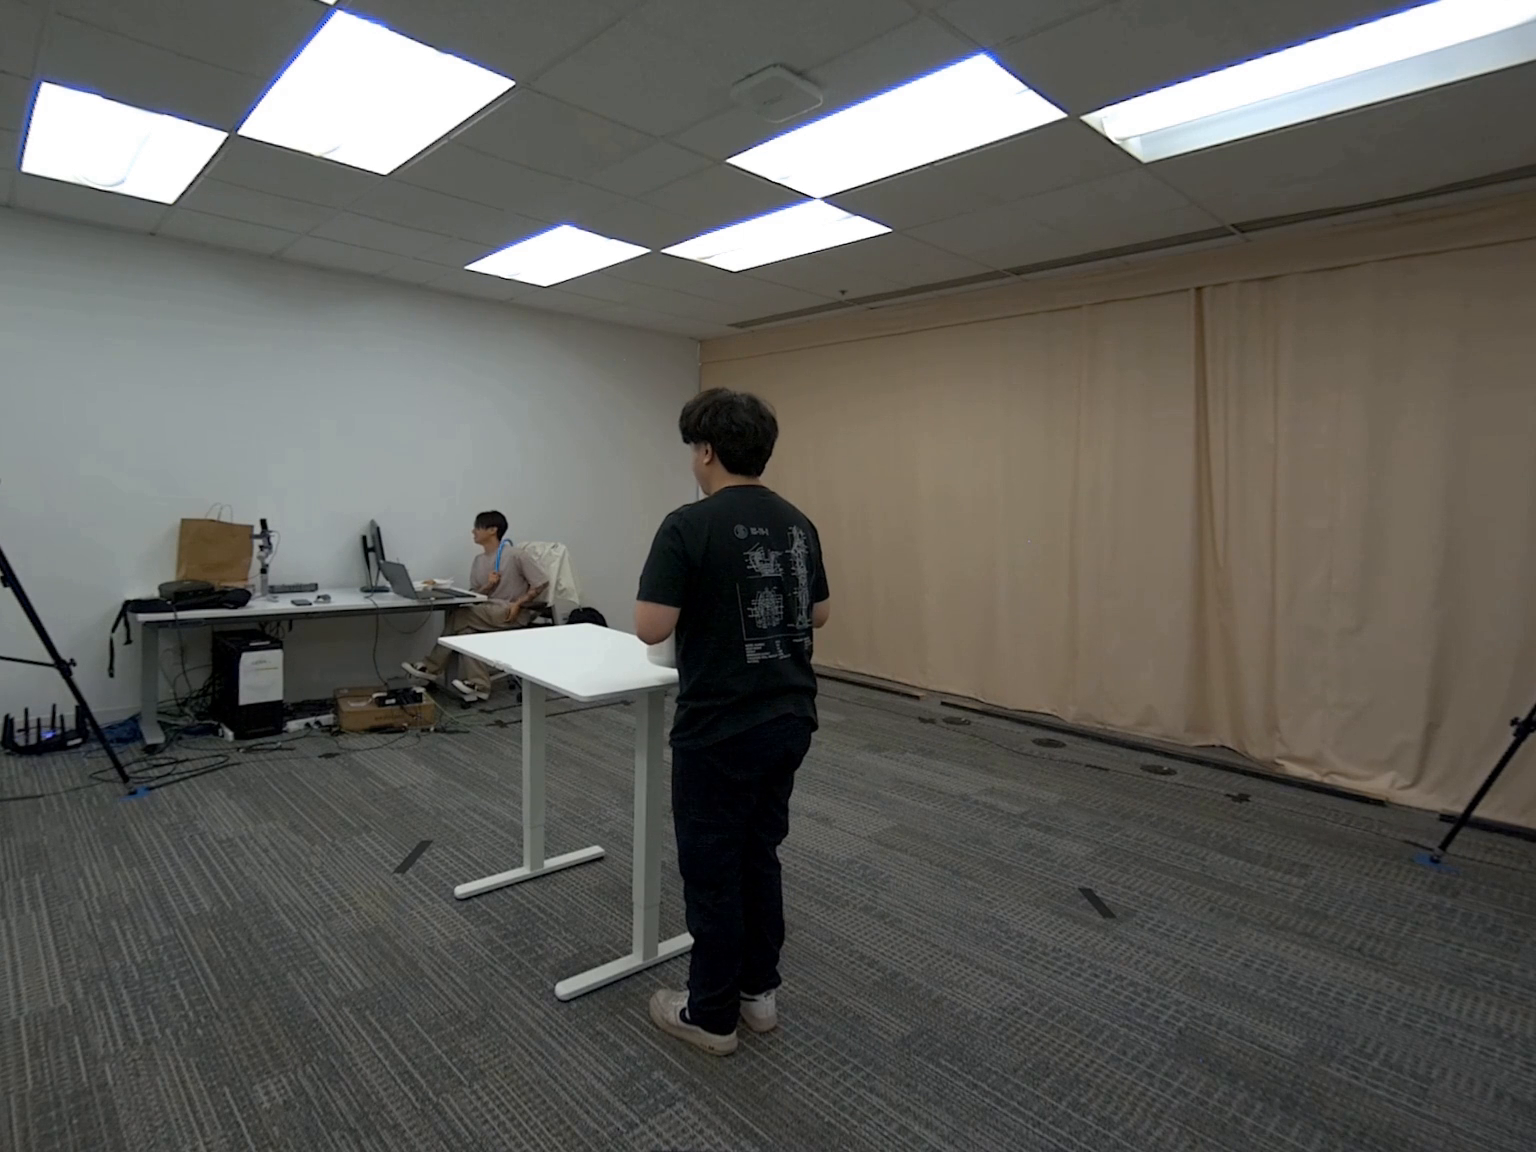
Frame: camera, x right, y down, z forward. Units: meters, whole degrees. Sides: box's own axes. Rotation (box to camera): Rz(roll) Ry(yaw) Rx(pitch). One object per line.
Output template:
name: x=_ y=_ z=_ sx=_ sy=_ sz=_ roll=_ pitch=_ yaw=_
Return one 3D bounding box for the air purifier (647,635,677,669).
air purifier: x=-0.233 y=0.124 z=2.351 sx=0.167 sy=0.266 sz=0.175 roll=2 pitch=-4 yaw=-39
